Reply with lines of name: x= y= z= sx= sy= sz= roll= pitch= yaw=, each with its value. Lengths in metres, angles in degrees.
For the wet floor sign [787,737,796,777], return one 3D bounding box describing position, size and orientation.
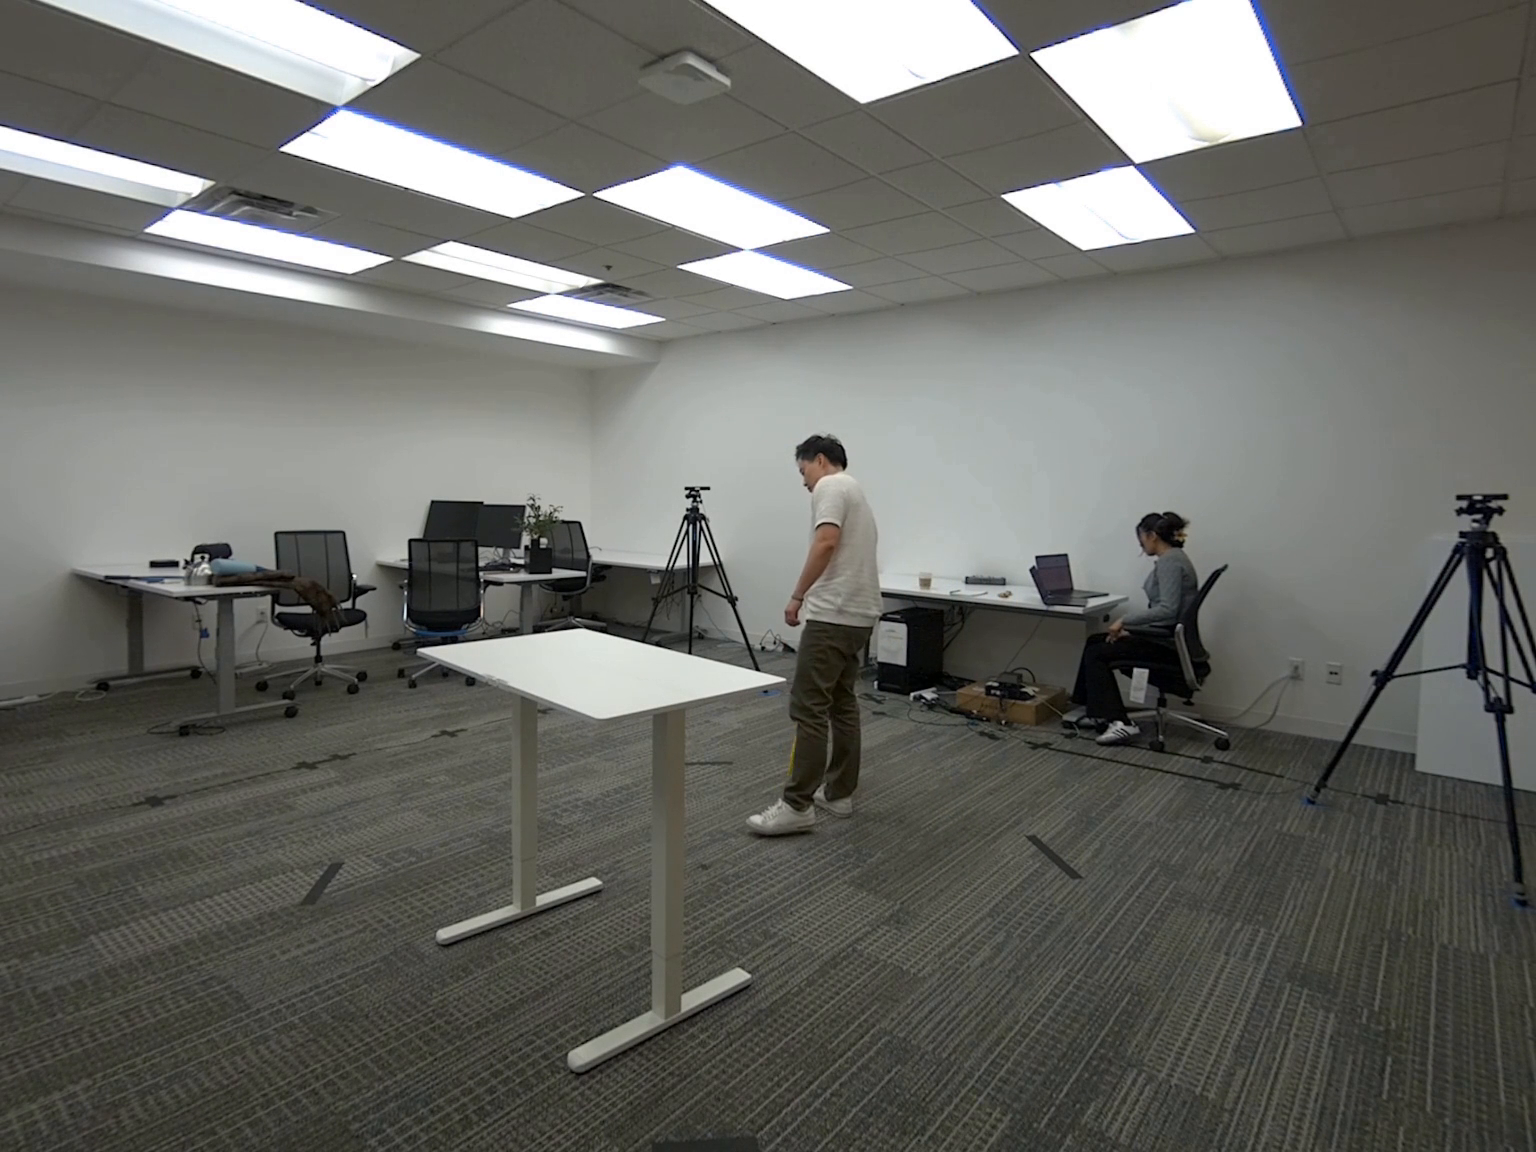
wet floor sign: x=0.254 y=0.593 z=4.000 sx=0.293 sy=0.645 sz=0.280 roll=2 pitch=3 yaw=9
